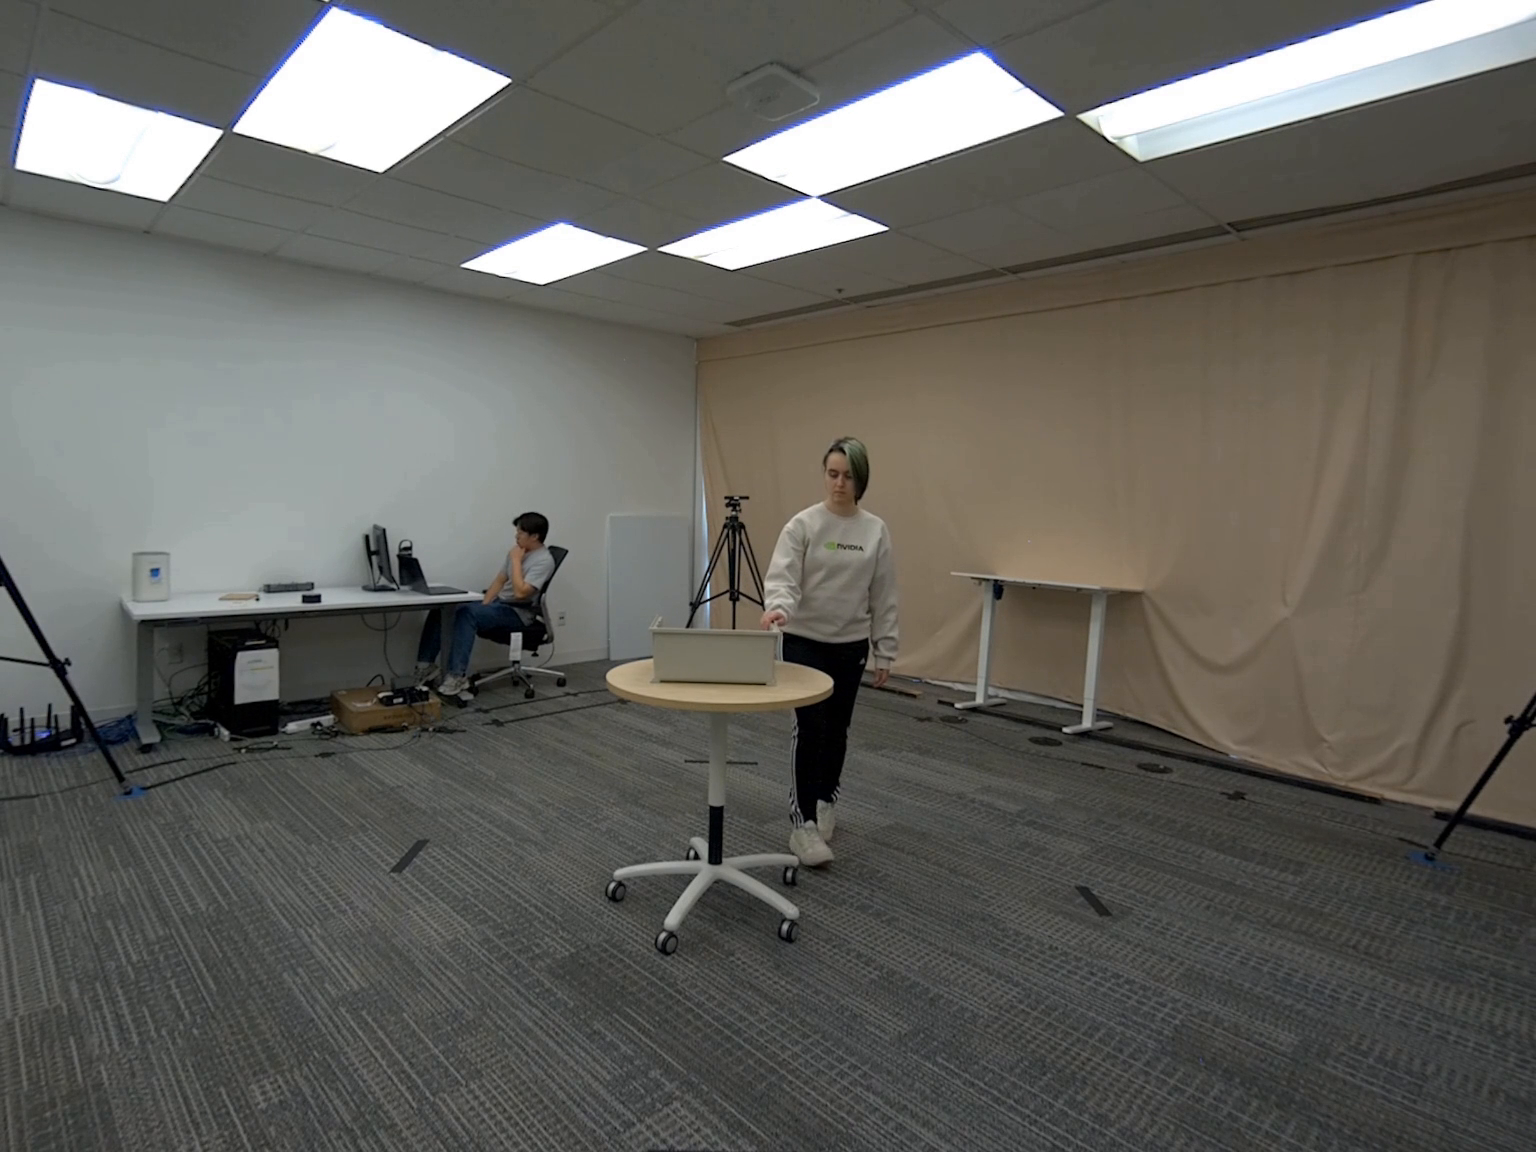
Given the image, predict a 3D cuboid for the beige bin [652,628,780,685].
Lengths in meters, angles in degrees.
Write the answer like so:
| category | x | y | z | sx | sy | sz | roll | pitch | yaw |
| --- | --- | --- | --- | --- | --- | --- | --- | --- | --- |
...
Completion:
| category | x | y | z | sx | sy | sz | roll | pitch | yaw |
| --- | --- | --- | --- | --- | --- | --- | --- | --- | --- |
| beige bin | -0.189 | 0.251 | 2.896 | 0.422 | 0.188 | 0.378 | 2 | 5 | -1 |
